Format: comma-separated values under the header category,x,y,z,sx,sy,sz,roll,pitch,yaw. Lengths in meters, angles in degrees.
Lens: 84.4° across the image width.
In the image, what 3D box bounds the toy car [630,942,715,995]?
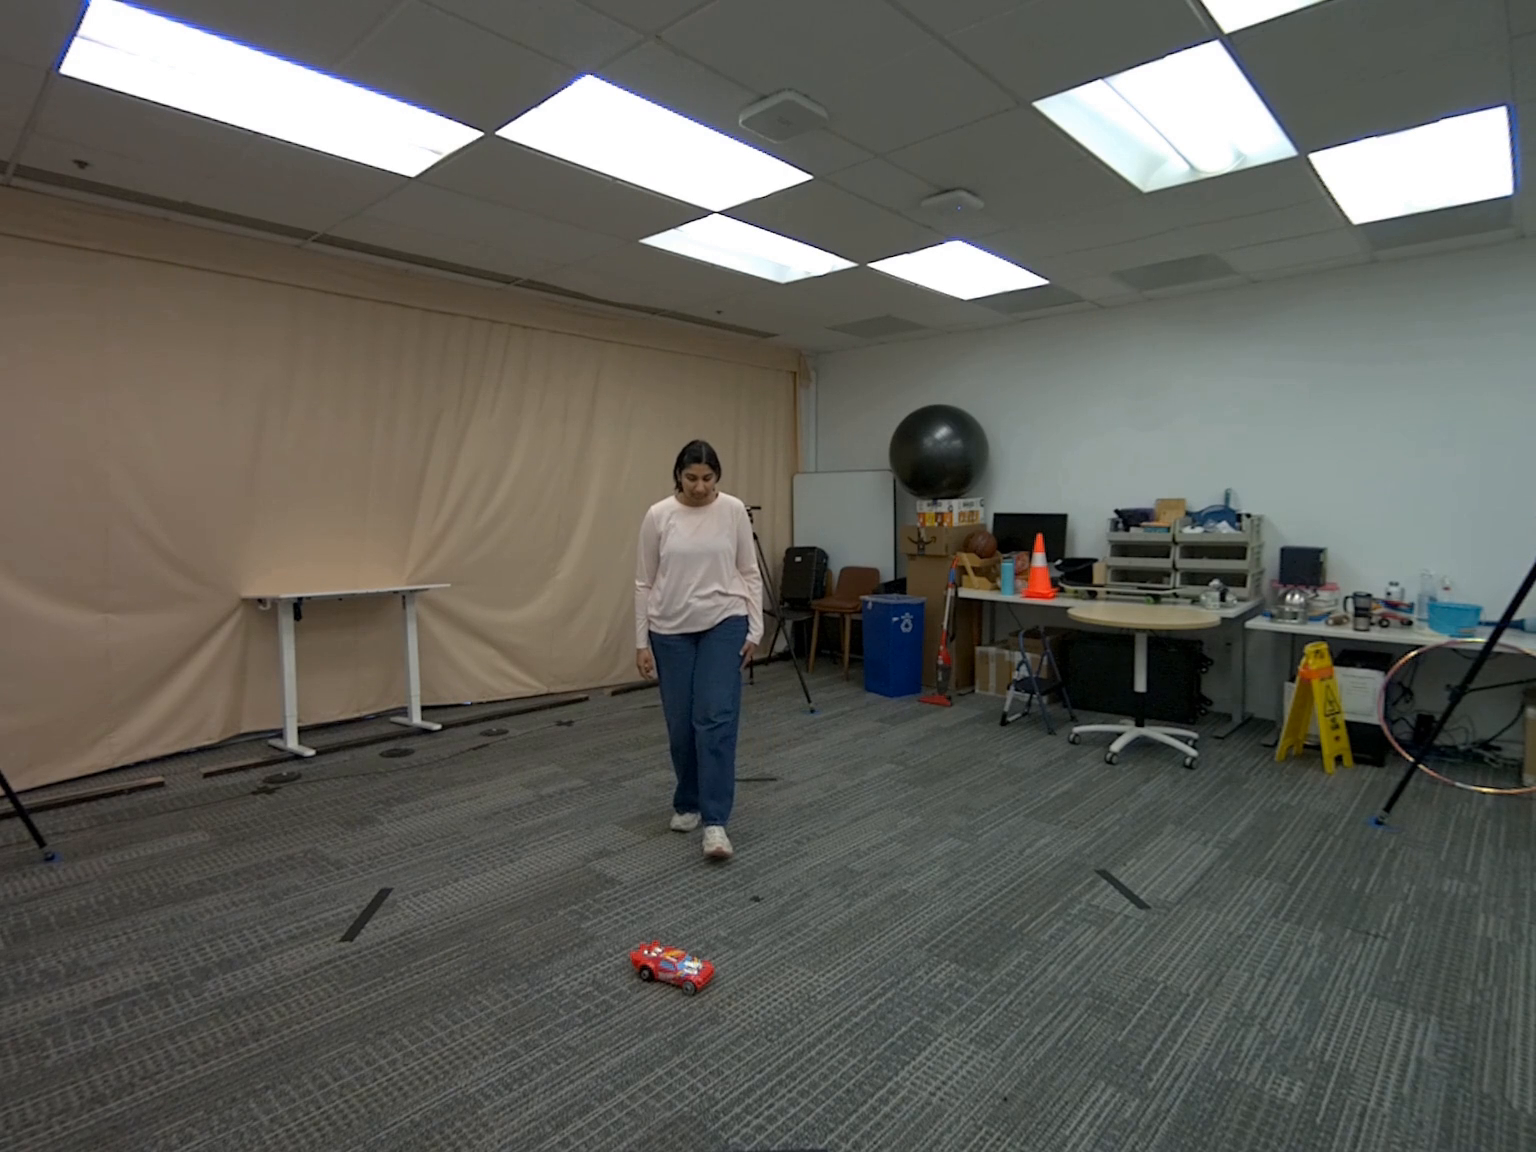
category,x,y,z,sx,sy,sz,roll,pitch,yaw
toy car,-0.290,1.149,2.489,0.262,0.083,0.127,14,12,27
